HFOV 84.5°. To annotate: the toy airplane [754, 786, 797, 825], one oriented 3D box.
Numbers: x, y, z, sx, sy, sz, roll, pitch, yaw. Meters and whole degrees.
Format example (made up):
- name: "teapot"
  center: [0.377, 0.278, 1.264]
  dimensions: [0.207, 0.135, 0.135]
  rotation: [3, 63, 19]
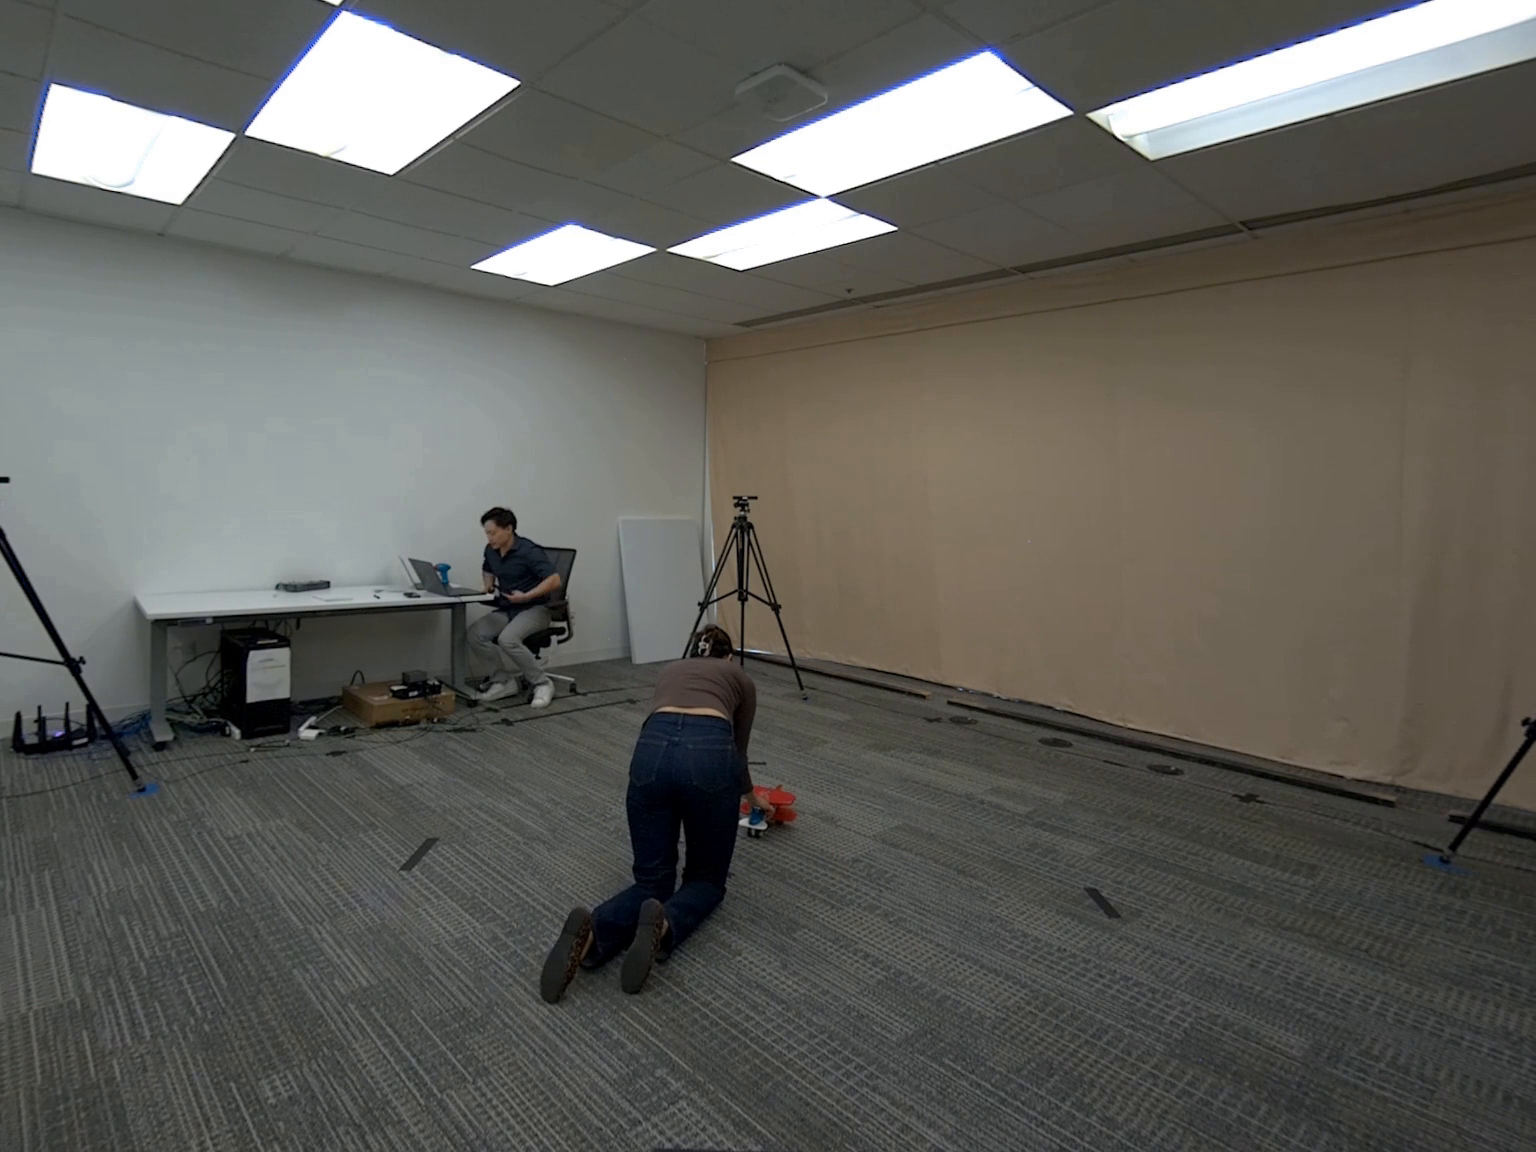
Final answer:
- name: "toy airplane"
  center: [-0.007, 0.994, 3.539]
  dimensions: [0.250, 0.156, 0.261]
  rotation: [0, 3, -7]
